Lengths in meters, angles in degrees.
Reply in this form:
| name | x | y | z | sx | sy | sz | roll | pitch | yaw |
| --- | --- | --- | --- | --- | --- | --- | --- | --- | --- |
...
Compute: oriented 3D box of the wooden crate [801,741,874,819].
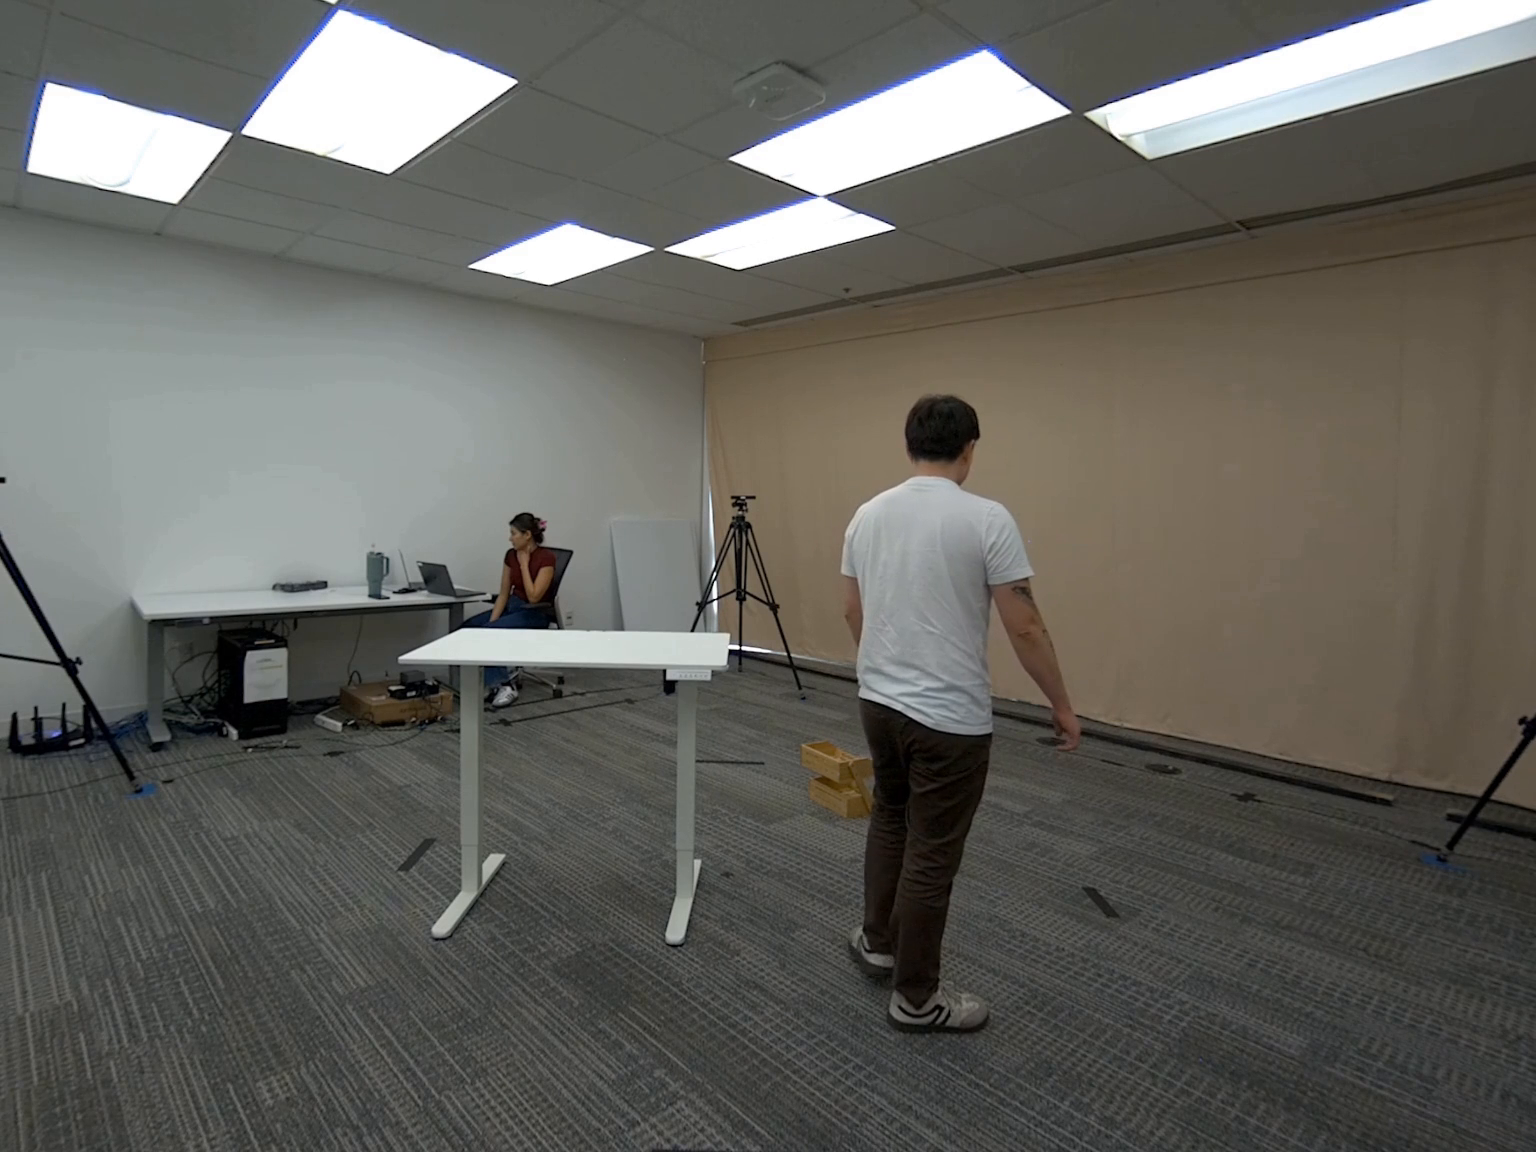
| name | x | y | z | sx | sy | sz | roll | pitch | yaw |
| --- | --- | --- | --- | --- | --- | --- | --- | --- | --- |
| wooden crate | 0.349 | 0.919 | 3.860 | 0.296 | 0.272 | 0.332 | -2 | 5 | -31 |
